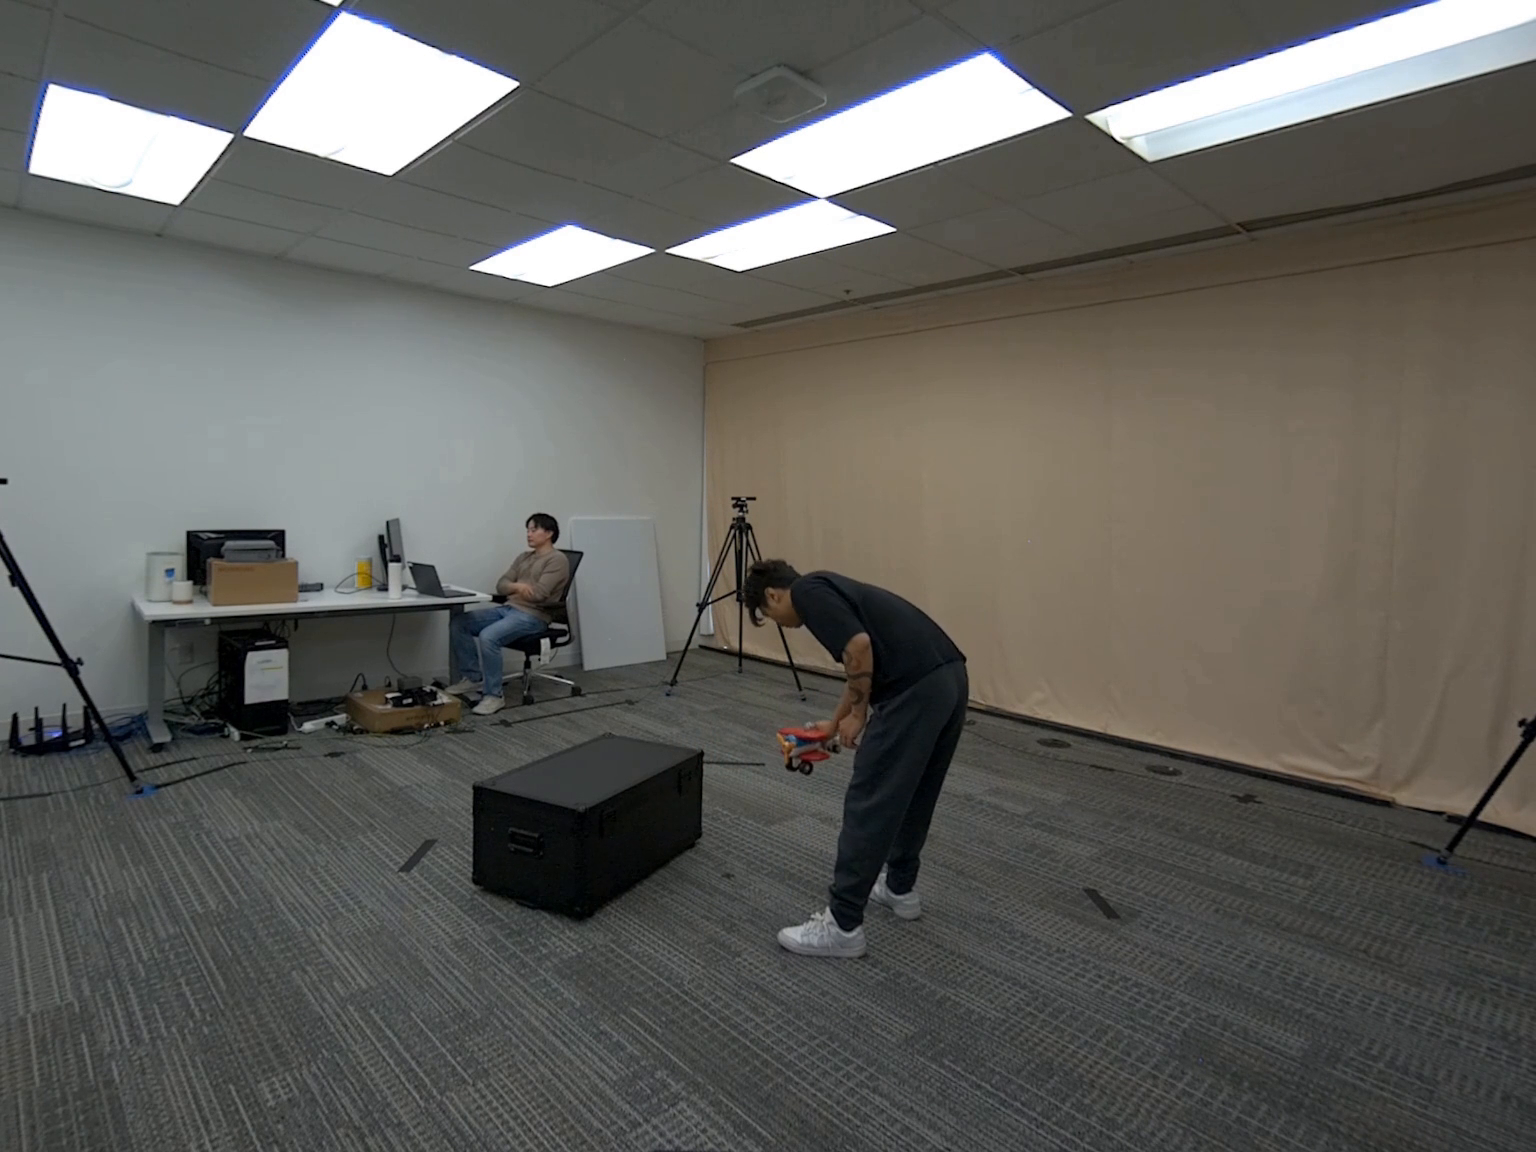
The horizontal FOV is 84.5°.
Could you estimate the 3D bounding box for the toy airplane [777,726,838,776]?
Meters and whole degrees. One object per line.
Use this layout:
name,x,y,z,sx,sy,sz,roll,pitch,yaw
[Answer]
toy airplane,0.153,0.645,3.230,0.255,0.155,0.257,-12,9,28
